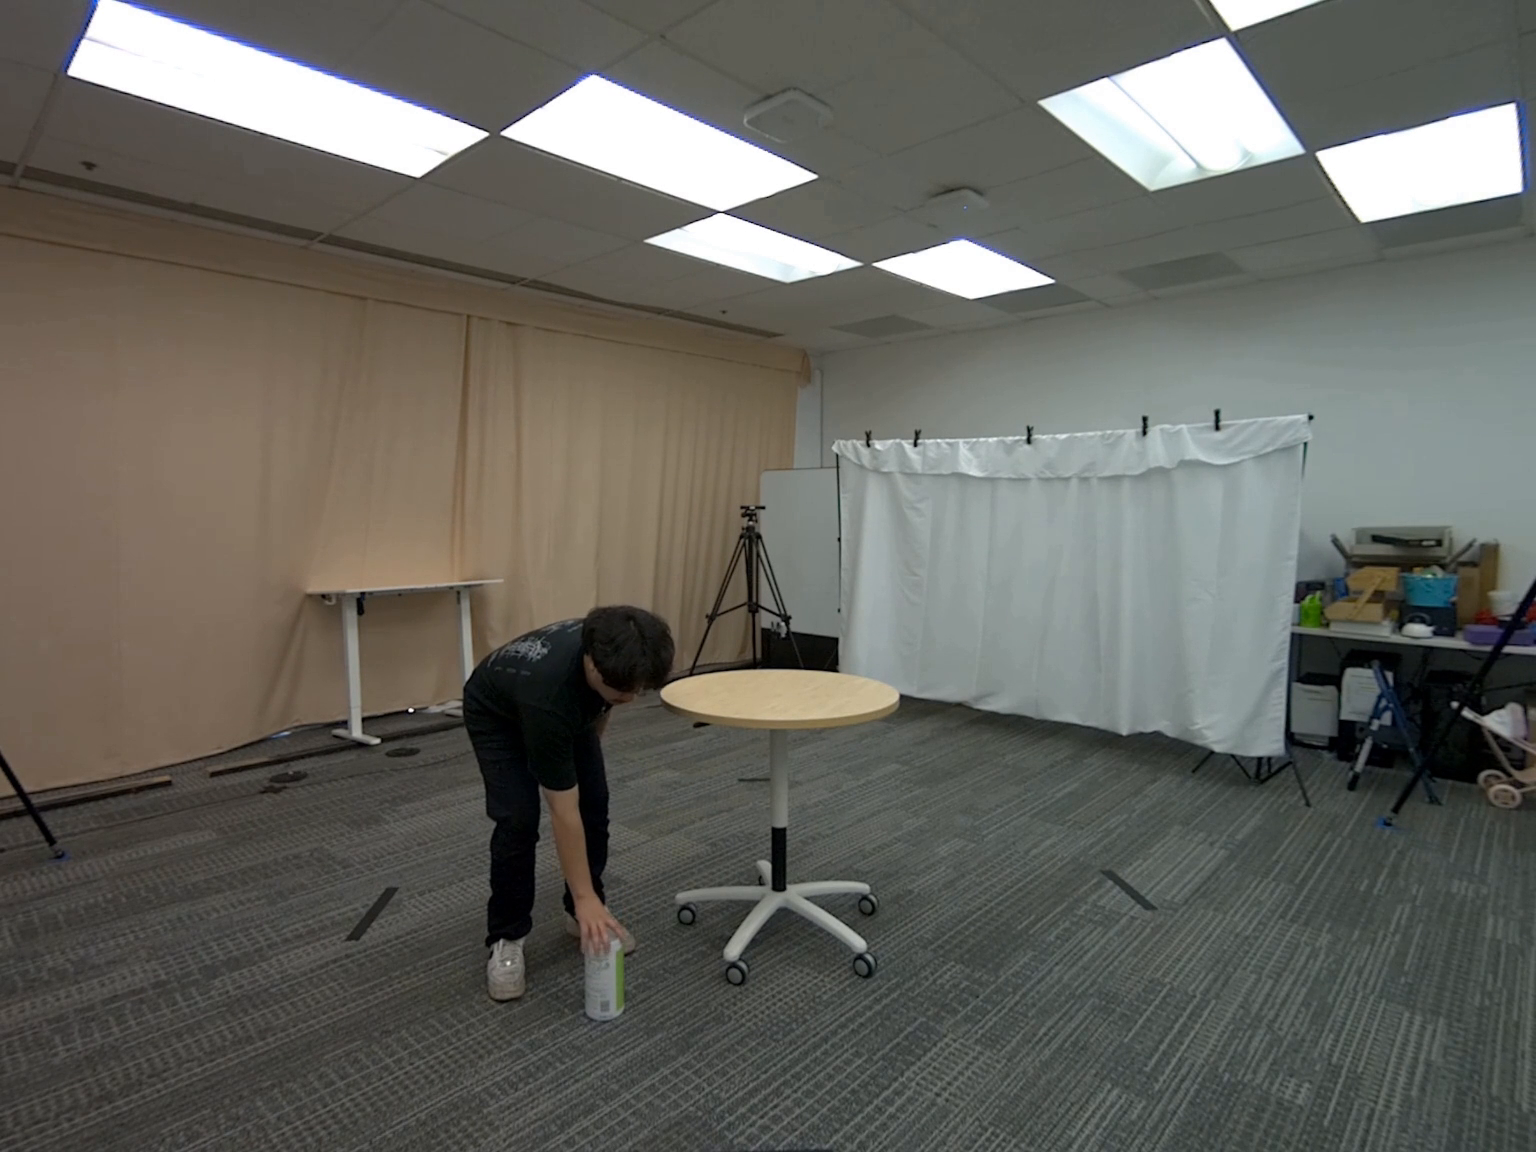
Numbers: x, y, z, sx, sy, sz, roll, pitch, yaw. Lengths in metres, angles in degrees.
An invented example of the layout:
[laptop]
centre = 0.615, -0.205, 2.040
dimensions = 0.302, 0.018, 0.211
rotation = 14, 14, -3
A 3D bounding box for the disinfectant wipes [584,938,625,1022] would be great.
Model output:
[disinfectant wipes]
centre = -0.457, 1.093, 2.322
dimensions = 0.118, 0.217, 0.118
rotation = 2, 2, -2
